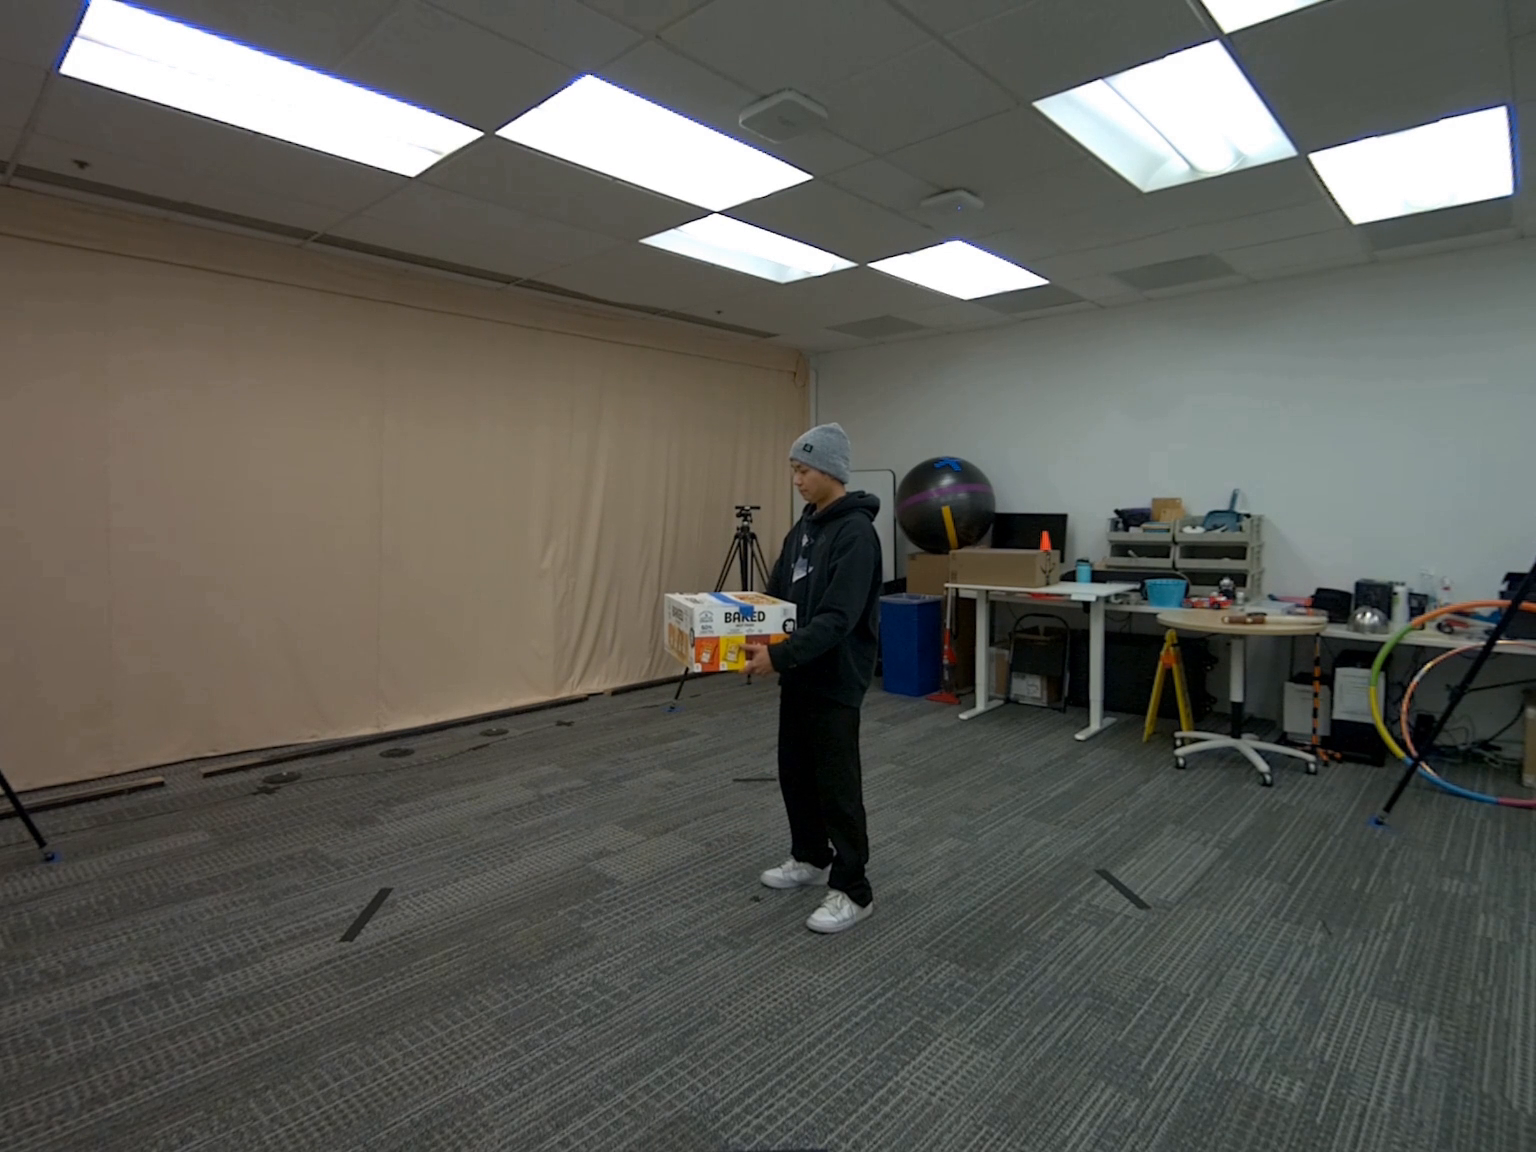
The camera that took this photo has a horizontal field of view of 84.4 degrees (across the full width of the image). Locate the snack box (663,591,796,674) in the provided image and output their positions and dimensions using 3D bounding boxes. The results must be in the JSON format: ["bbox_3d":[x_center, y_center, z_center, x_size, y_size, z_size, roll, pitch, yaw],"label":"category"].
[{"bbox_3d":[-0.137,0.179,2.834,0.334,0.205,0.413,-1,4,-18],"label":"snack box"}]
